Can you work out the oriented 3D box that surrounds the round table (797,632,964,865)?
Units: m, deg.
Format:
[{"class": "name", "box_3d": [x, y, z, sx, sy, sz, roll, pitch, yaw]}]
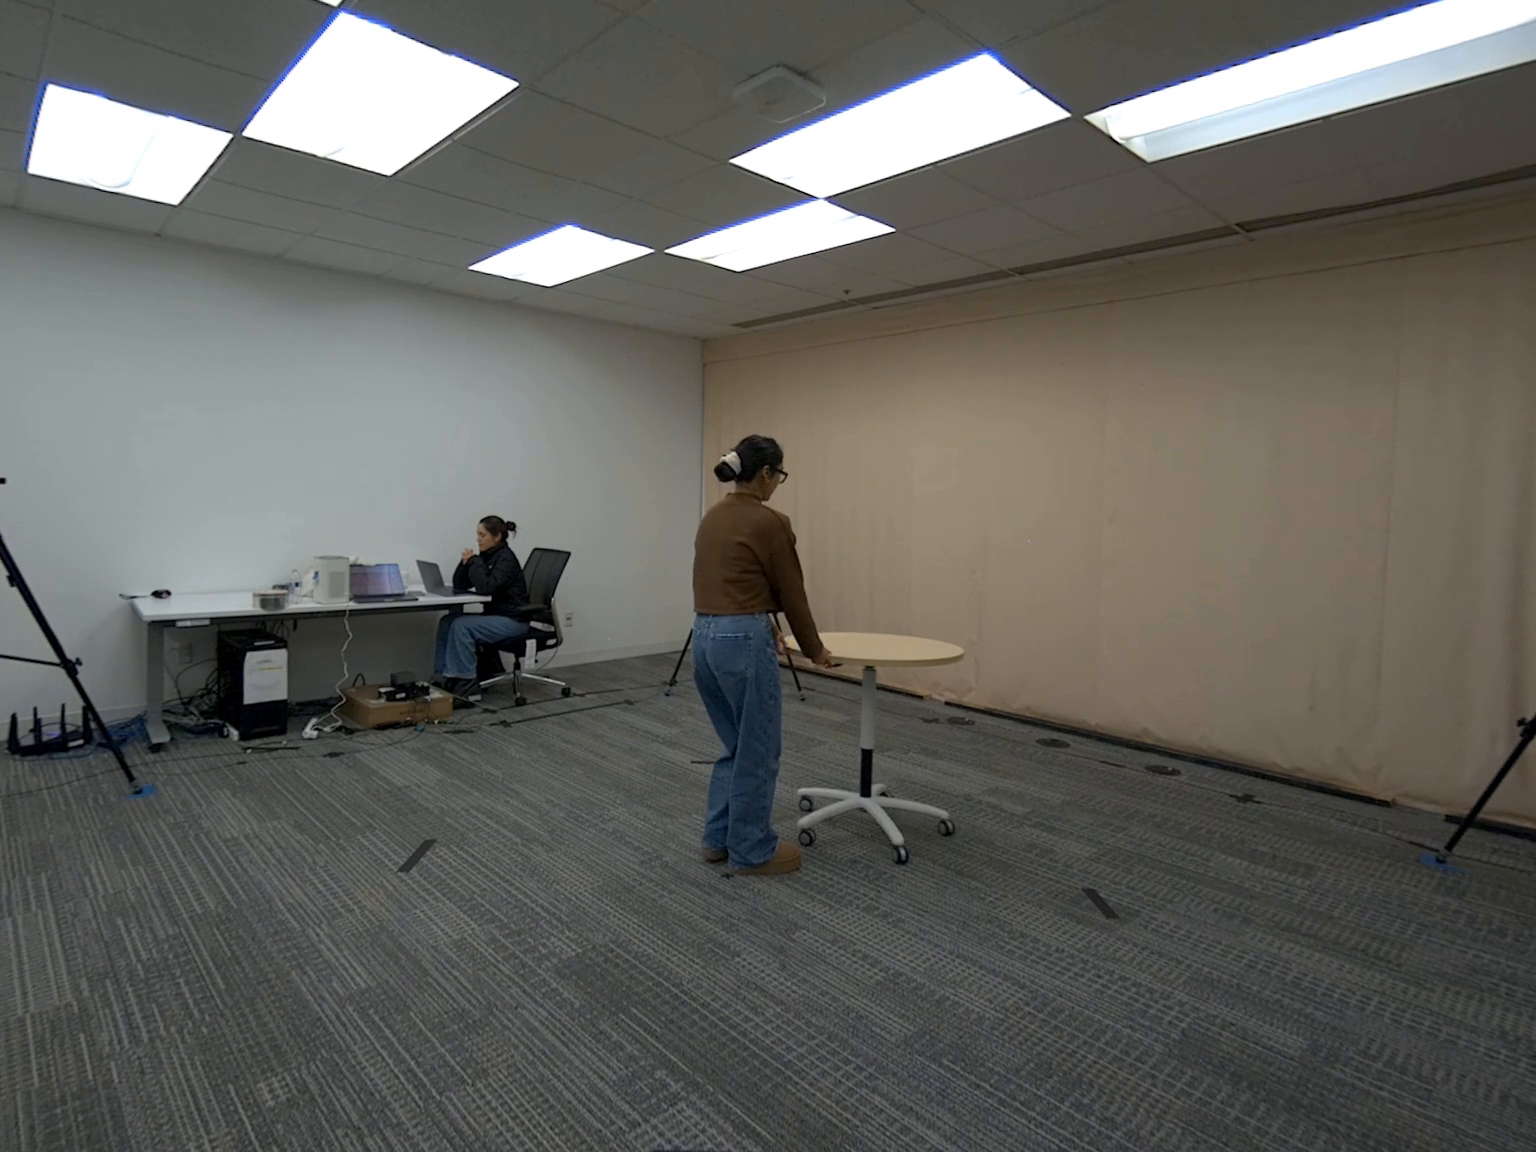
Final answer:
[{"class": "round table", "box_3d": [0.406, 0.685, 3.552, 0.784, 0.785, 0.787, 1, 2, -1]}]
